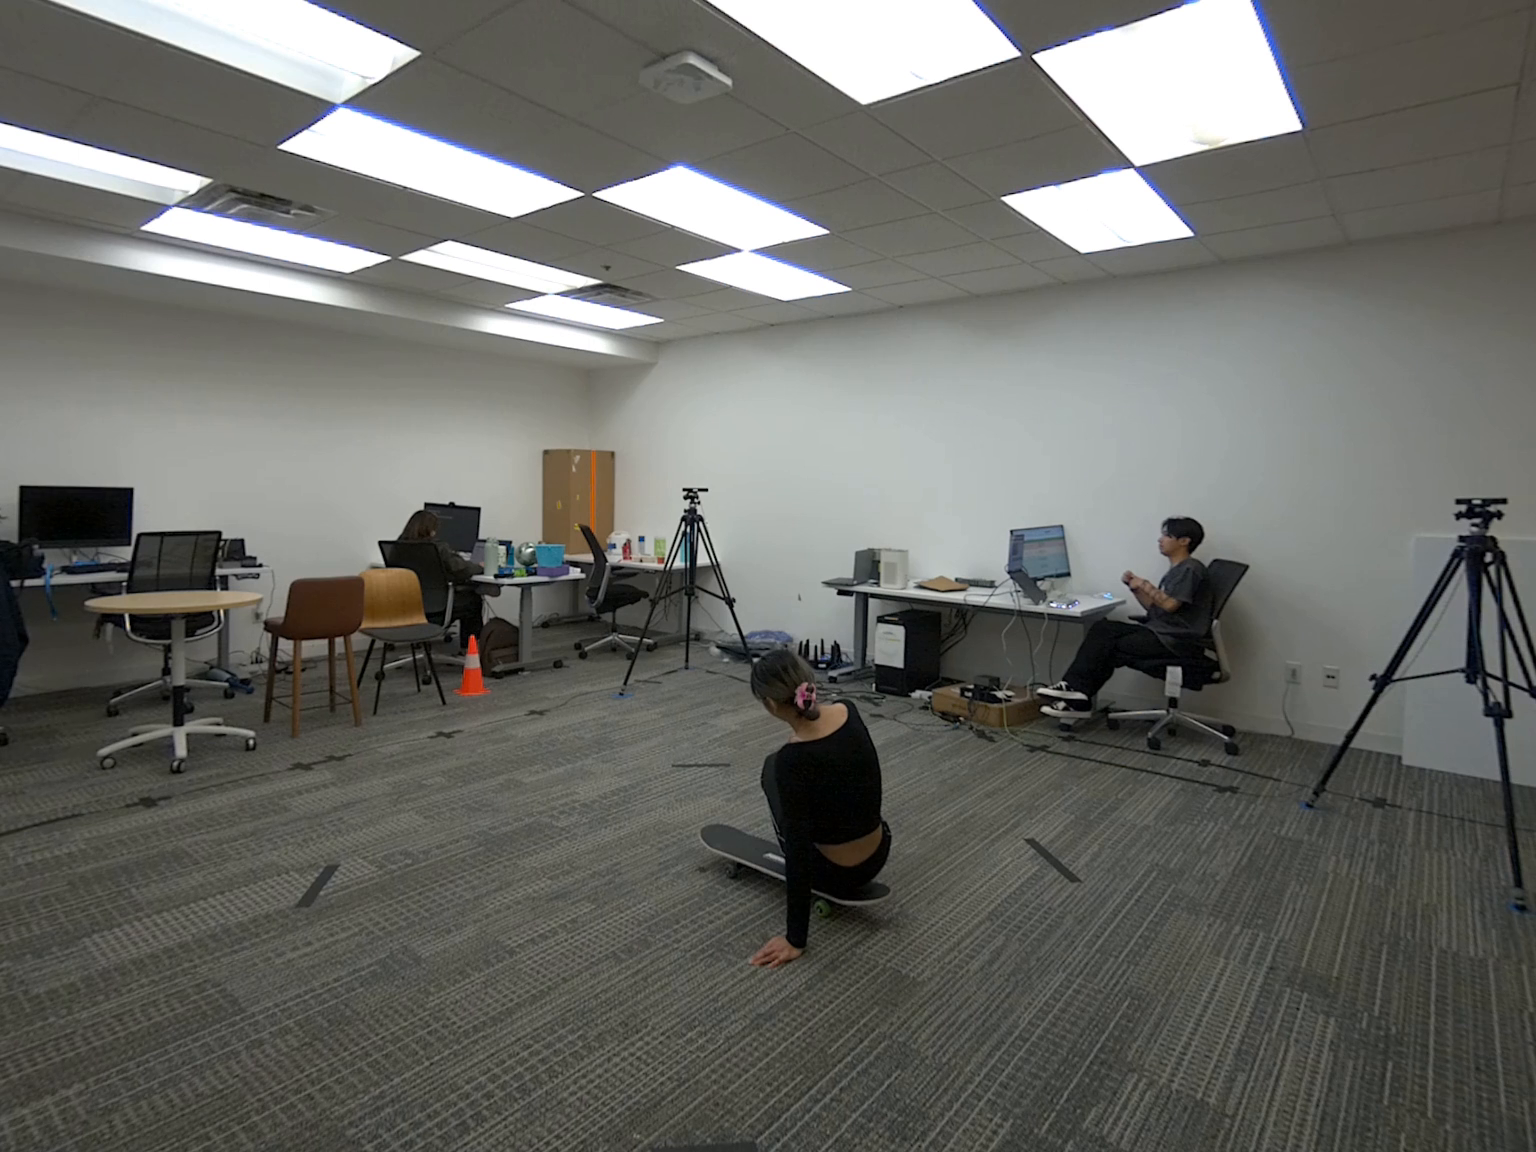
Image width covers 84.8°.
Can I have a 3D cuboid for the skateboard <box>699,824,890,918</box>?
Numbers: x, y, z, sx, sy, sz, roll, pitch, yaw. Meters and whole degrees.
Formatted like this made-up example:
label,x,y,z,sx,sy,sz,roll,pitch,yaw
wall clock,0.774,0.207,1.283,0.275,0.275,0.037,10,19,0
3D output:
label,x,y,z,sx,sy,sz,roll,pitch,yaw
skateboard,0.064,1.036,2.973,0.812,0.110,0.188,7,9,40
